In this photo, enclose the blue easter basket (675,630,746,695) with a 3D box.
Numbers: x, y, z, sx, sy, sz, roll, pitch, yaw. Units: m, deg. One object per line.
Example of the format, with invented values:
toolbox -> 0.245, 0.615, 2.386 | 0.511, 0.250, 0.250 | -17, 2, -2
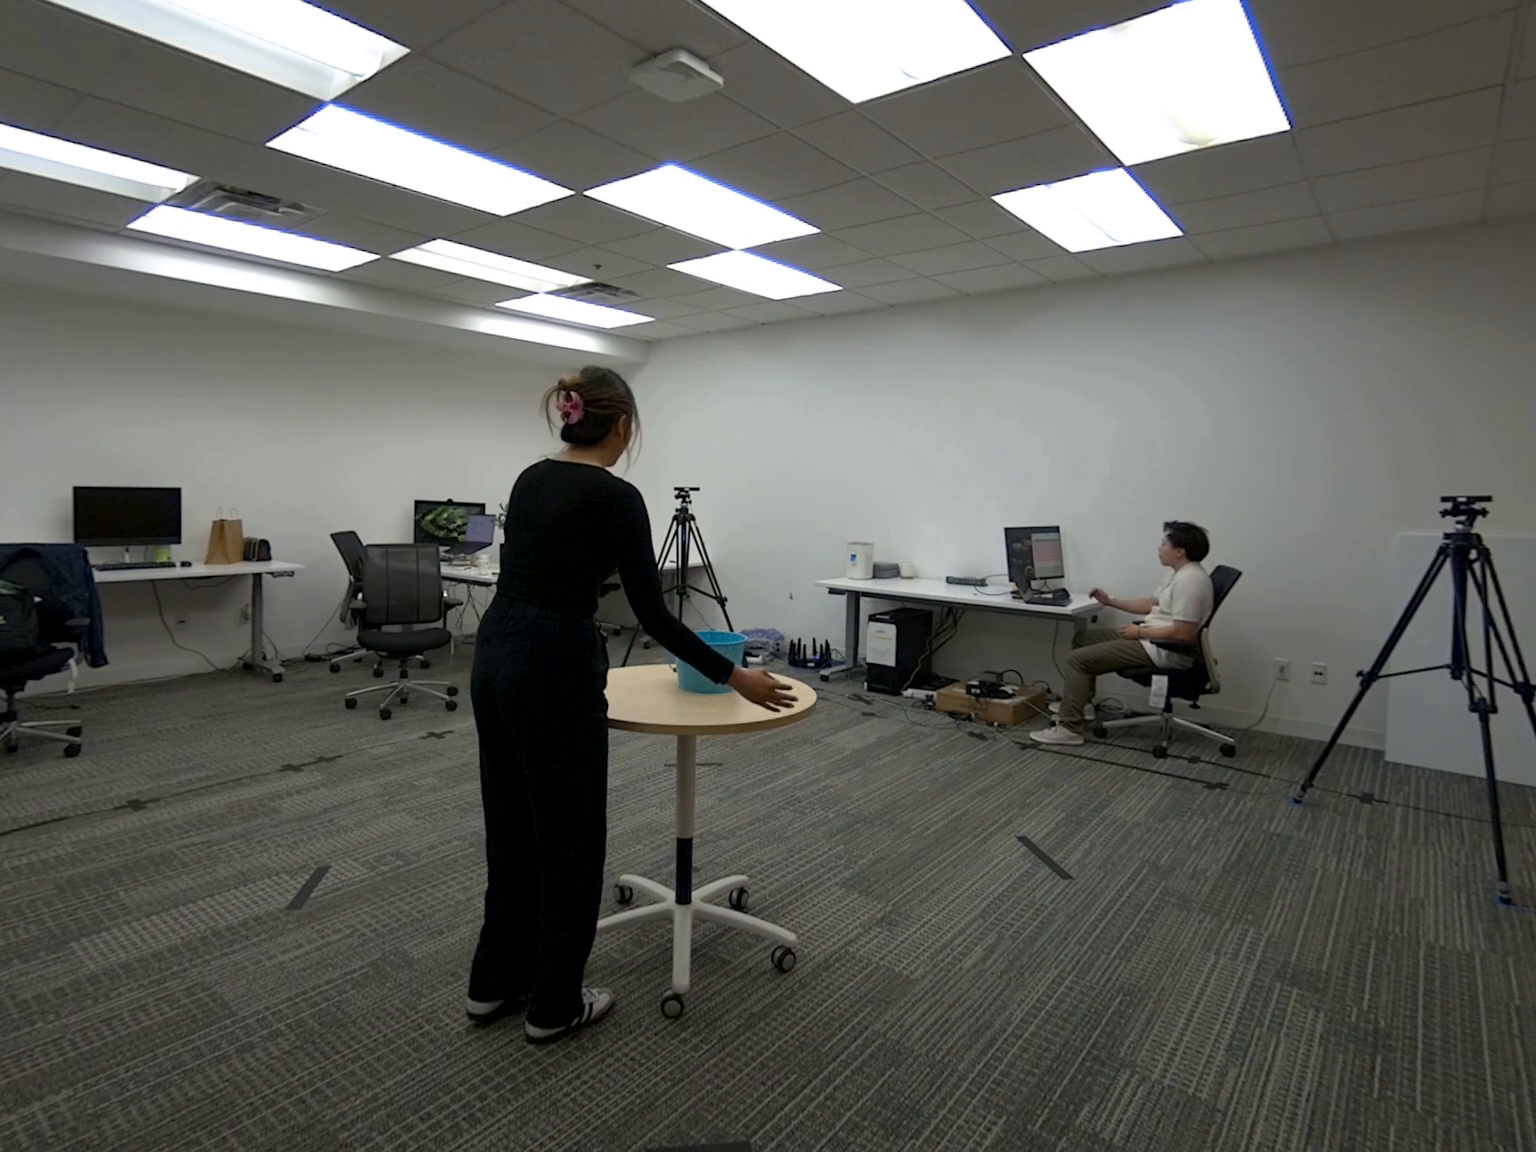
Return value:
blue easter basket -> -0.191, 0.265, 2.588 | 0.243, 0.155, 0.245 | 1, 6, -2
